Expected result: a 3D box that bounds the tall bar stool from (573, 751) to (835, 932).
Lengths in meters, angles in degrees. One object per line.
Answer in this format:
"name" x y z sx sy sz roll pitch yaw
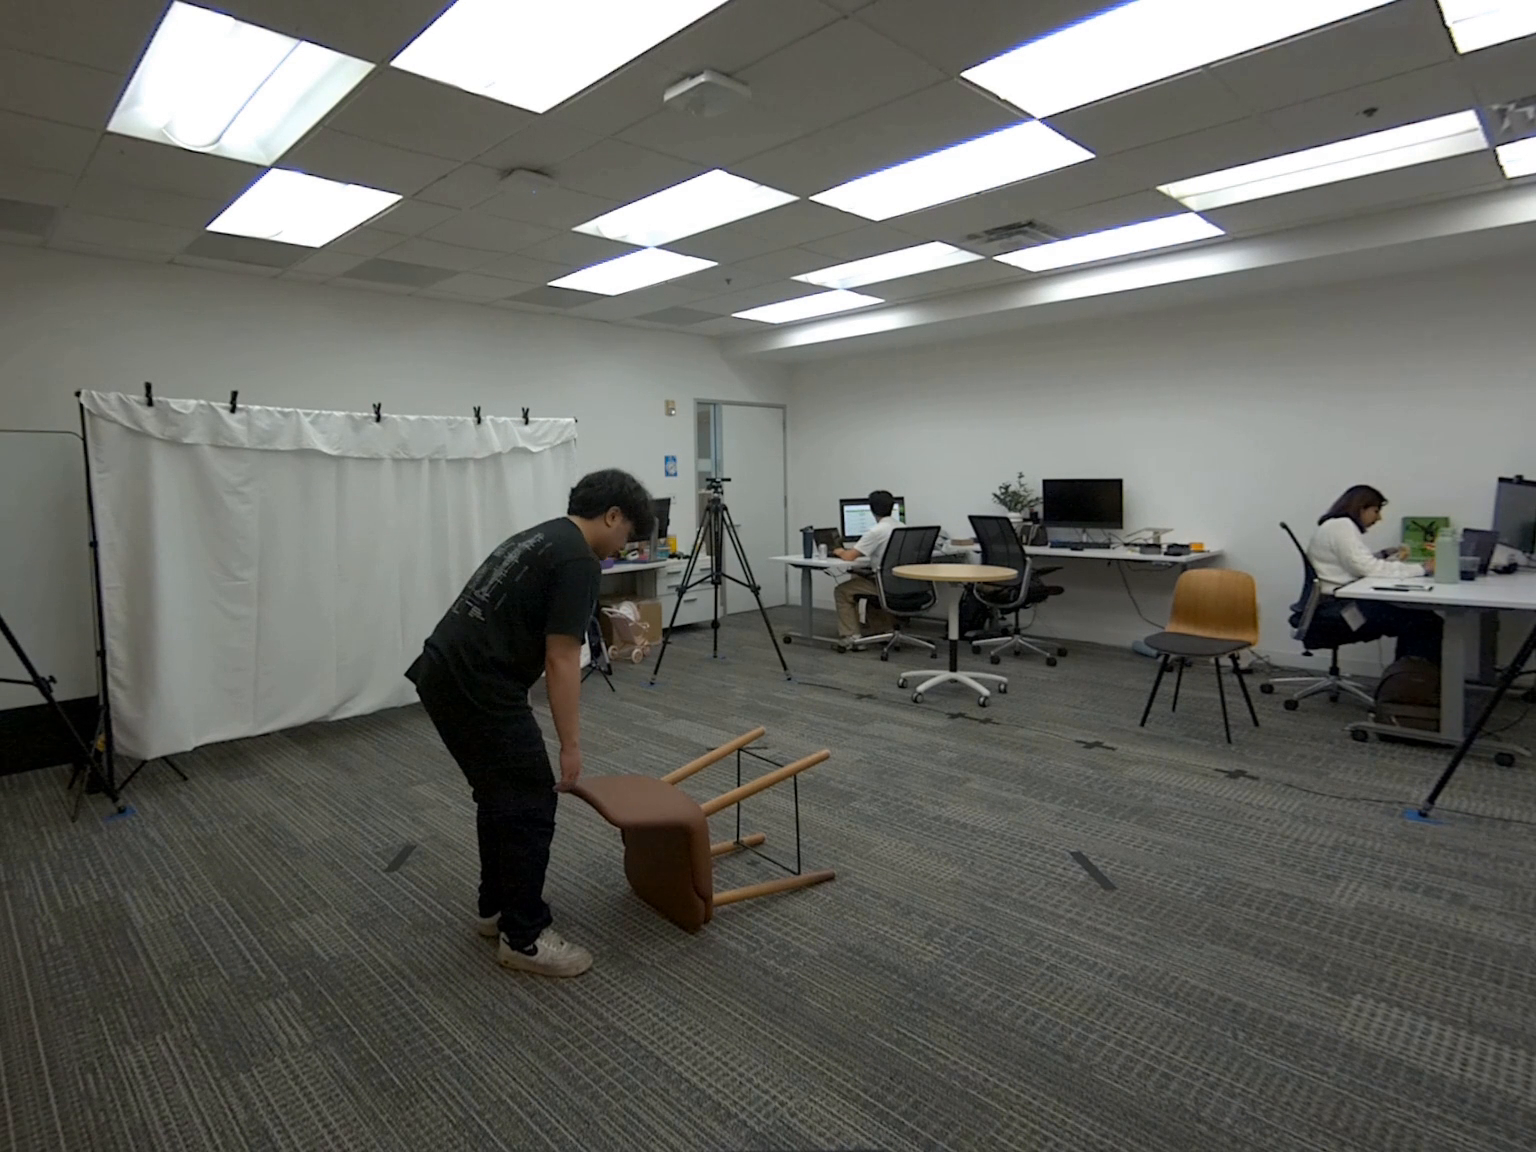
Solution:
"tall bar stool" -0.230 0.846 2.853 0.866 0.466 0.471 -5 7 -39
